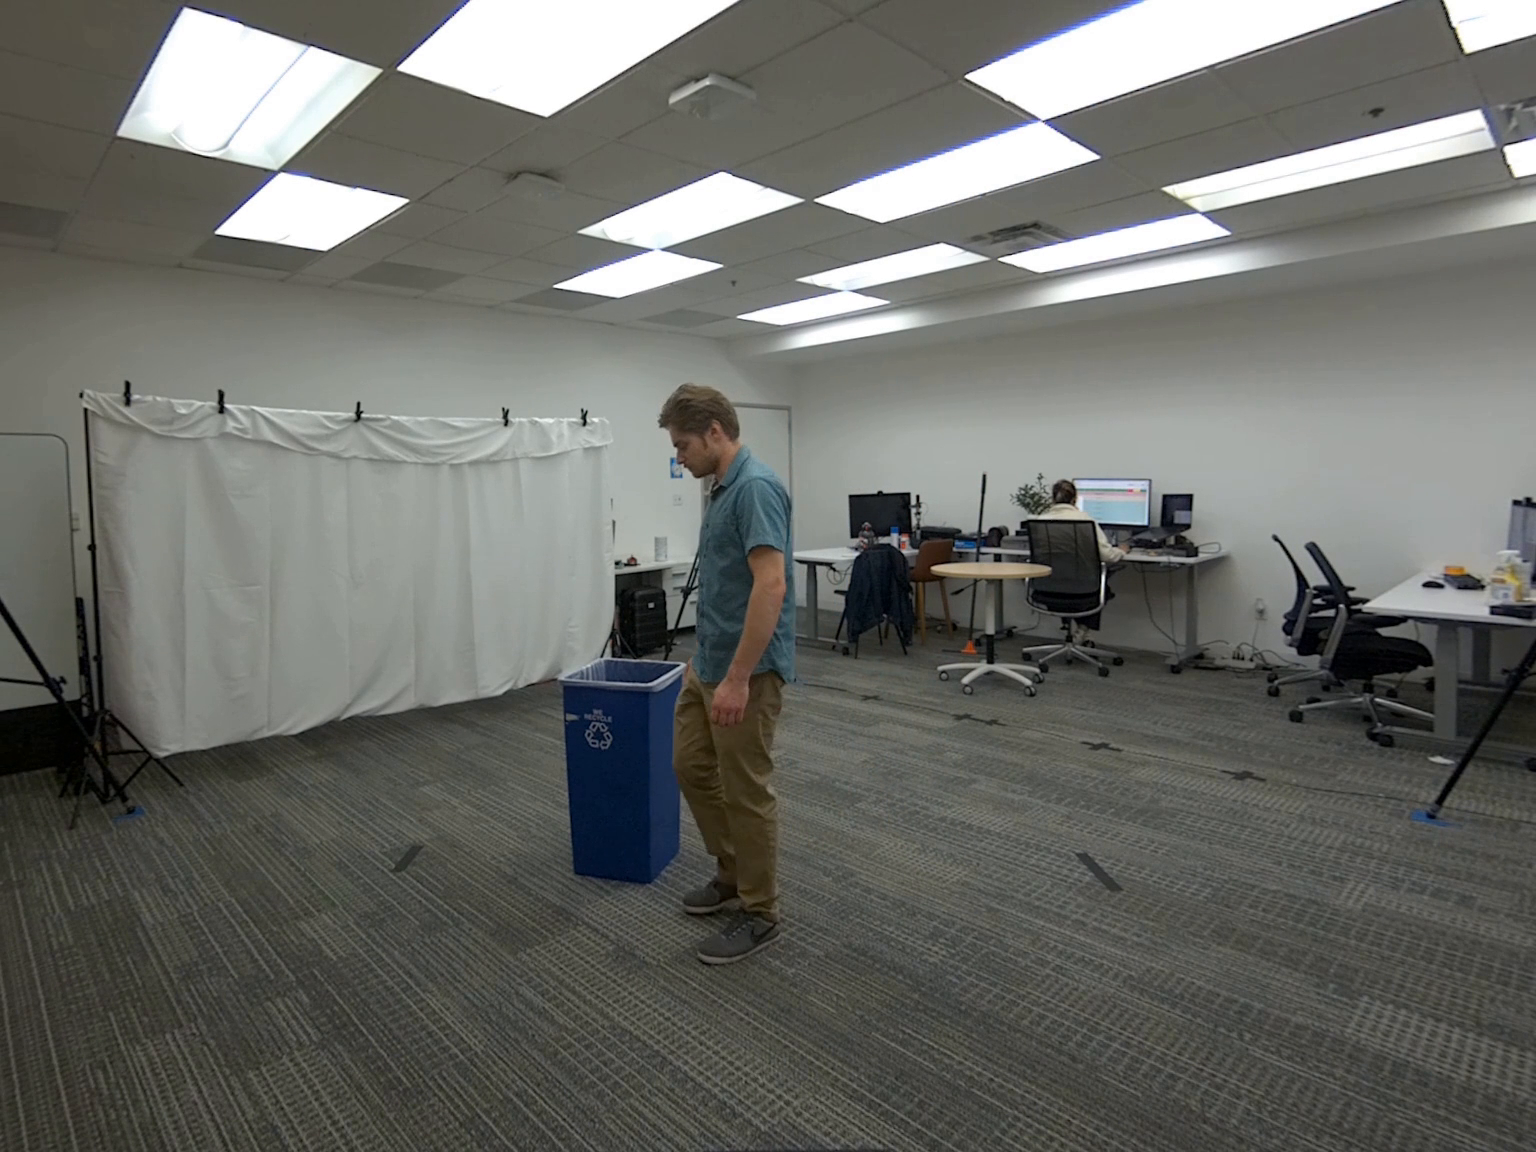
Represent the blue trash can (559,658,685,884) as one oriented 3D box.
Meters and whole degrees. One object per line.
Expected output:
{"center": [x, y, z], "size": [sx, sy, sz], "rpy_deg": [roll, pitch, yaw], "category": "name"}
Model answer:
{"center": [-0.514, 0.697, 3.127], "size": [0.380, 0.711, 0.373], "rpy_deg": [0, 4, 16], "category": "blue trash can"}
